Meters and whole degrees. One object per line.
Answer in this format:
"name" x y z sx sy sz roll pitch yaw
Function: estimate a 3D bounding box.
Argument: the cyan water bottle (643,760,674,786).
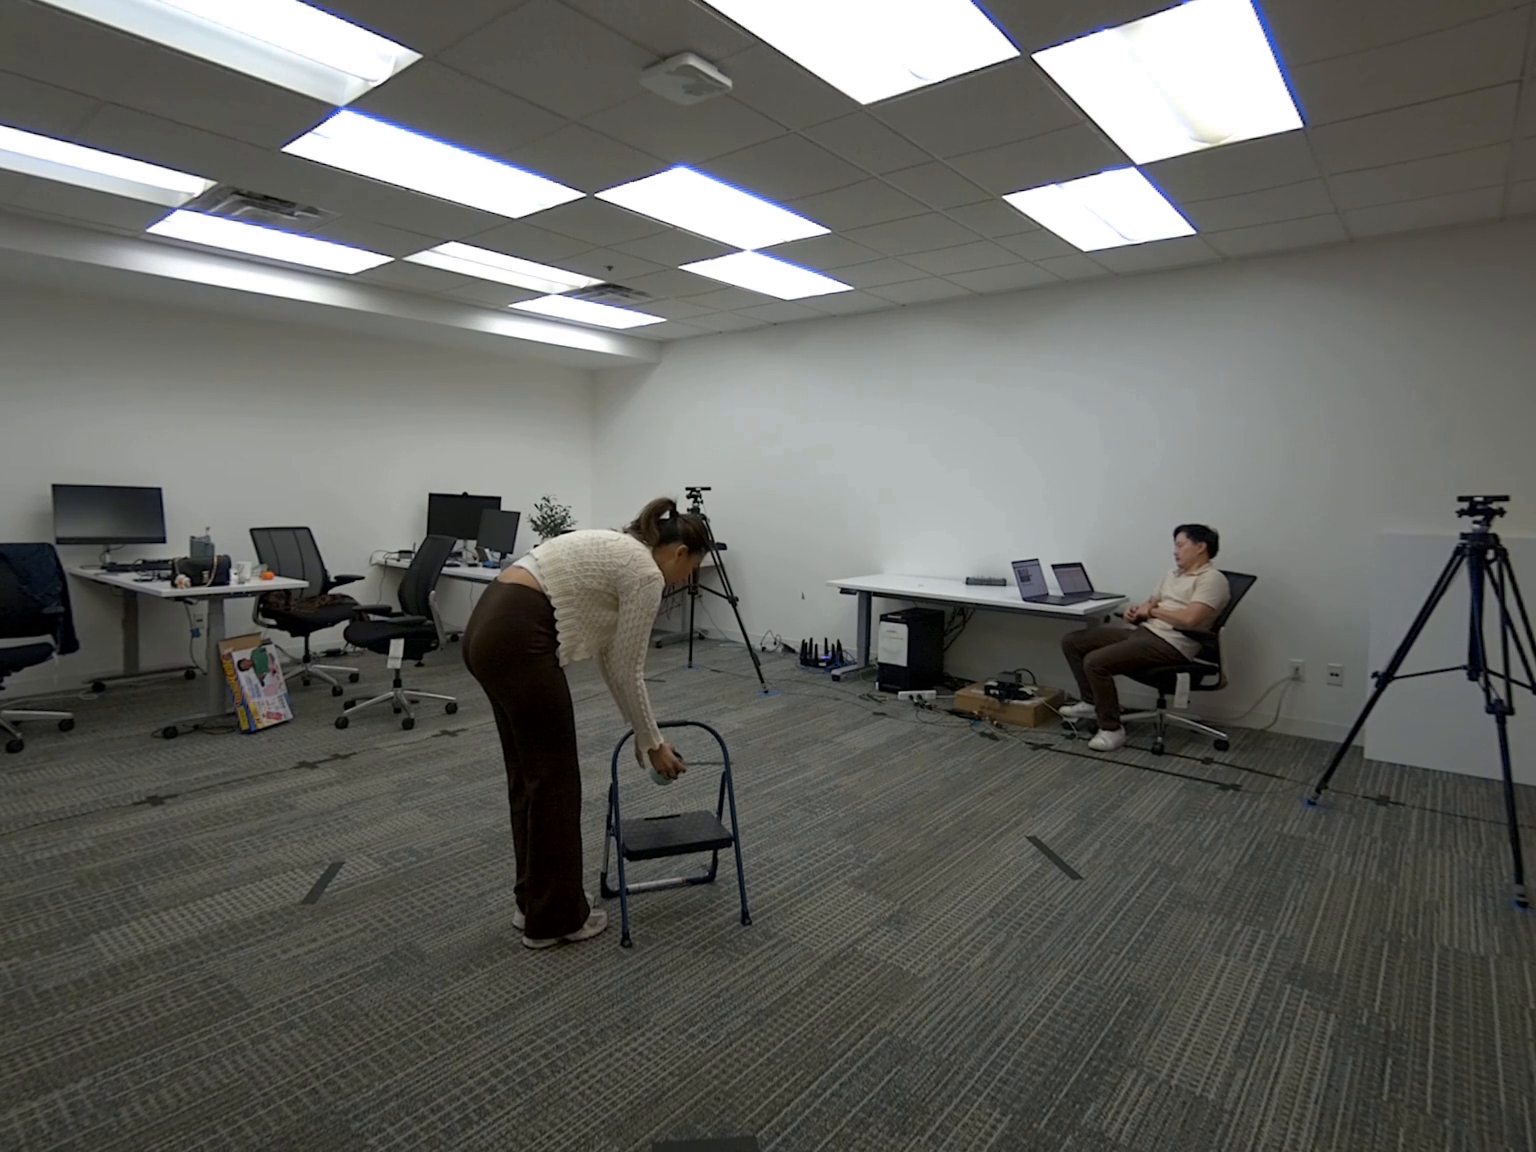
"cyan water bottle" -0.339 0.628 2.805 0.091 0.094 0.281 1 -19 -11
